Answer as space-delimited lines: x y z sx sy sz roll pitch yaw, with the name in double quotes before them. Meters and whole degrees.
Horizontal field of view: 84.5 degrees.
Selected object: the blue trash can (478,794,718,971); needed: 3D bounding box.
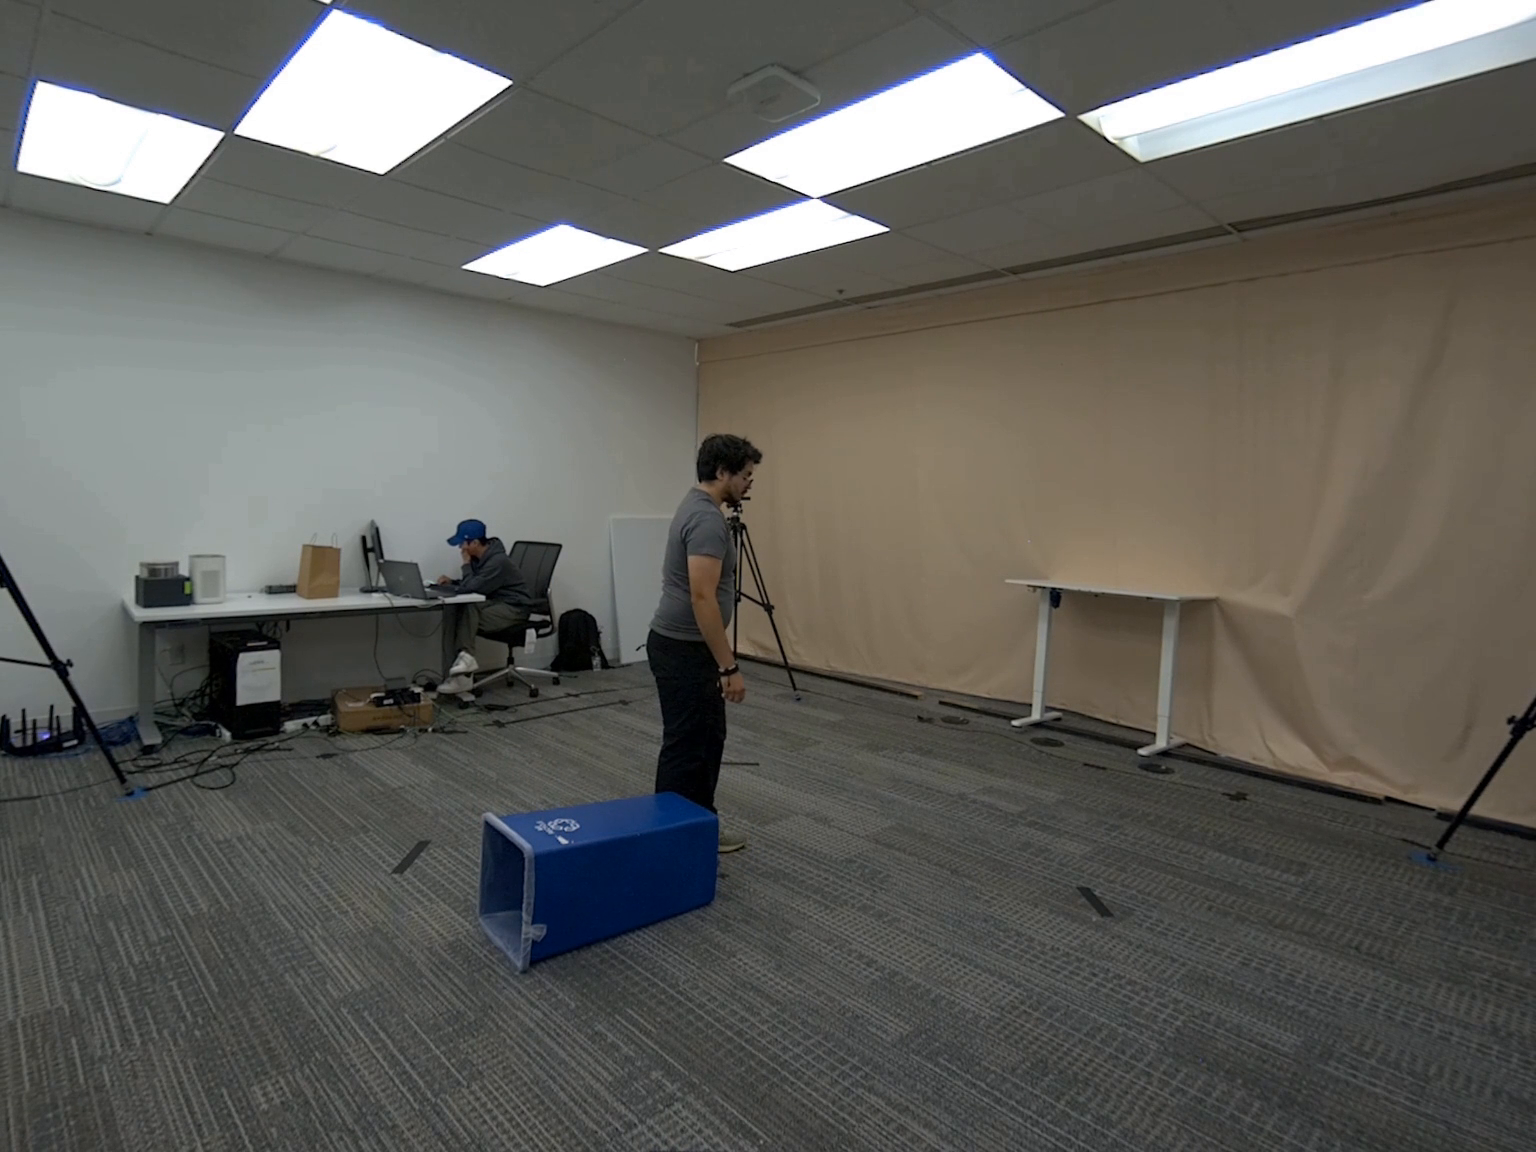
"blue trash can" -0.552 0.948 2.780 0.697 0.373 0.387 0 4 -39
